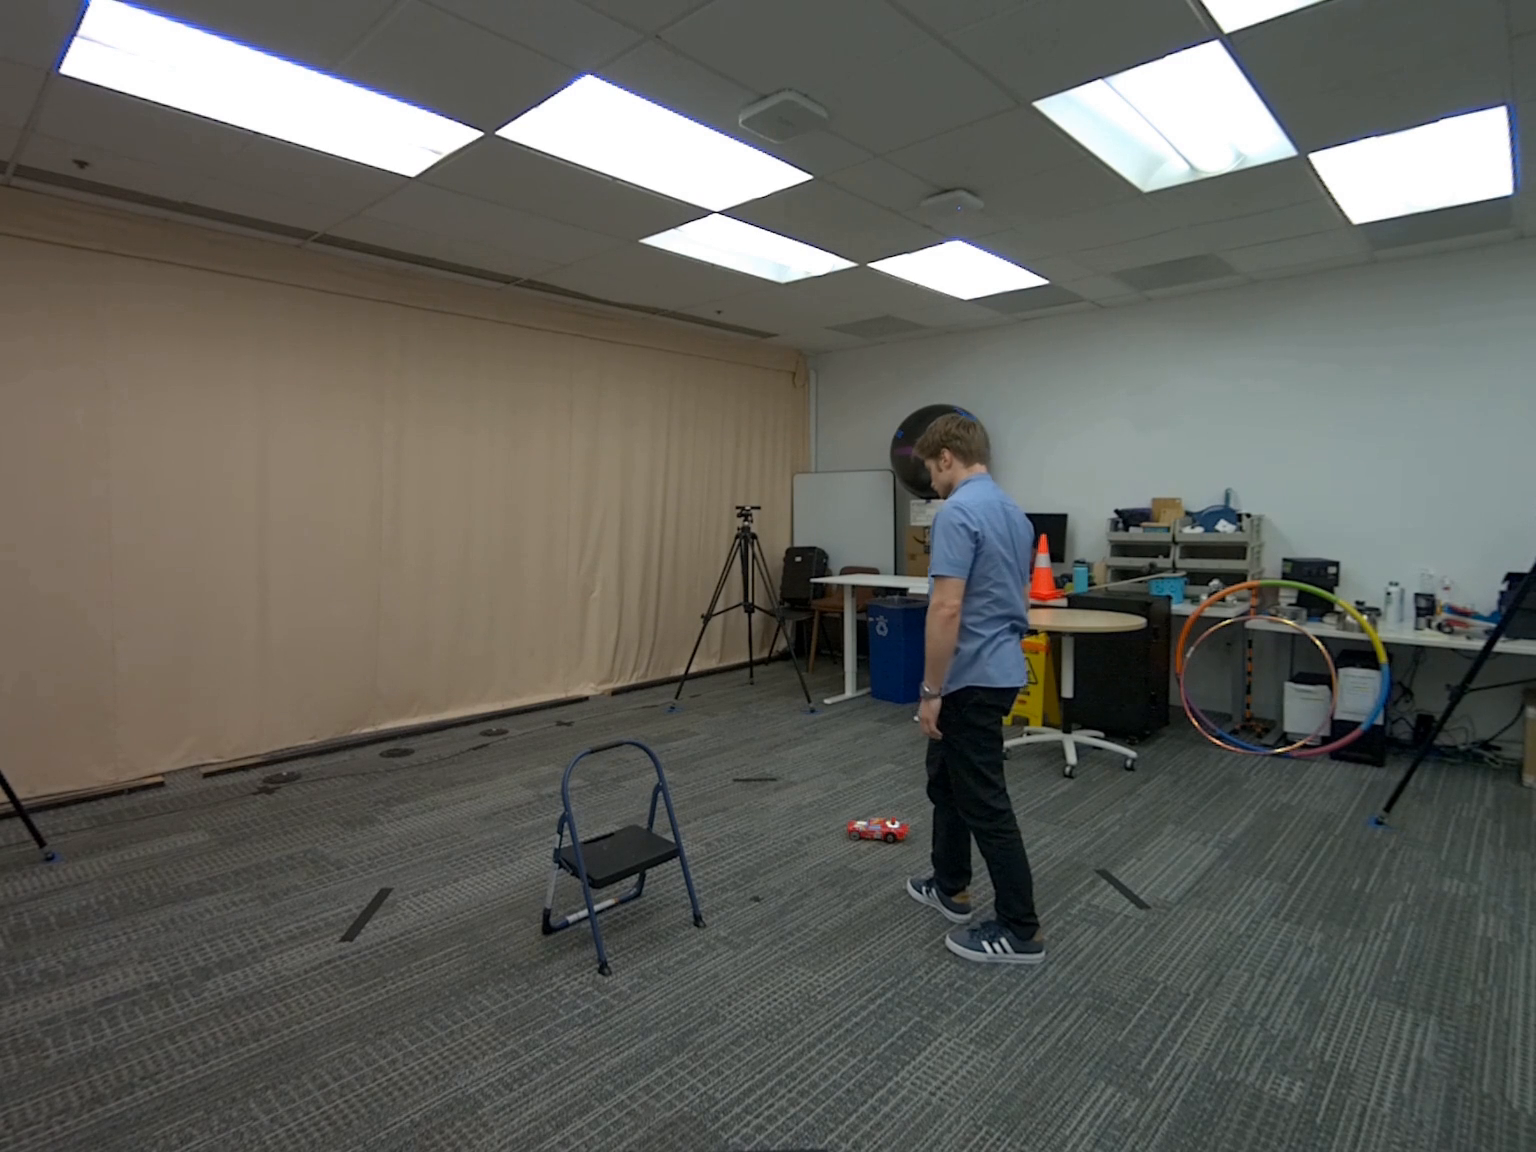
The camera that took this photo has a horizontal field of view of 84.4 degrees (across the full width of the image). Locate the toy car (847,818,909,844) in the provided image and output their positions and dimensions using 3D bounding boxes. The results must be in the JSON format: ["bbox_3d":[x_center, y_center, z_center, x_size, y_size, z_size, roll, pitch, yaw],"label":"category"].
[{"bbox_3d":[0.470,1.065,3.533,0.257,0.083,0.129,-10,2,12],"label":"toy car"}]
